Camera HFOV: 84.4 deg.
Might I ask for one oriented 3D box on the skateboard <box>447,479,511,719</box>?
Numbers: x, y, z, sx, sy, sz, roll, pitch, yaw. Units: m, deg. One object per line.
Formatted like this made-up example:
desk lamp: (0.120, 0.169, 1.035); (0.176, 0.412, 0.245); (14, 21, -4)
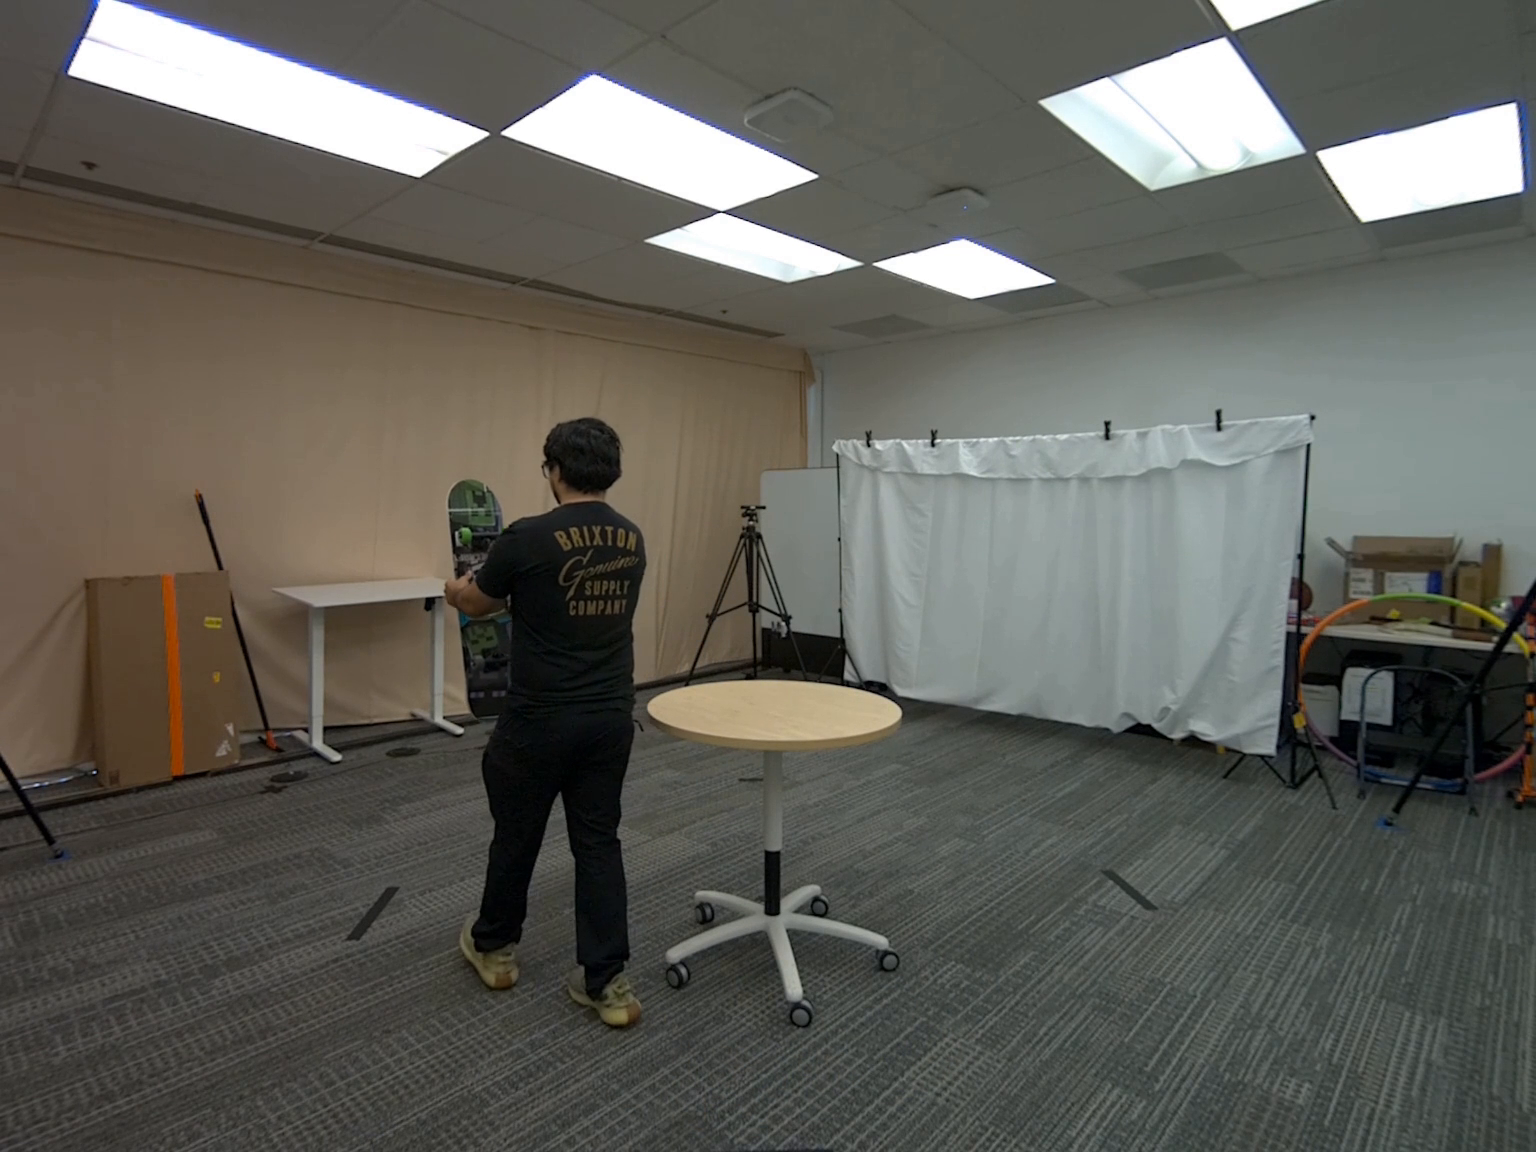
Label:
skateboard: (-0.898, 0.073, 2.686); (0.113, 0.788, 0.187); (-11, -6, 42)
